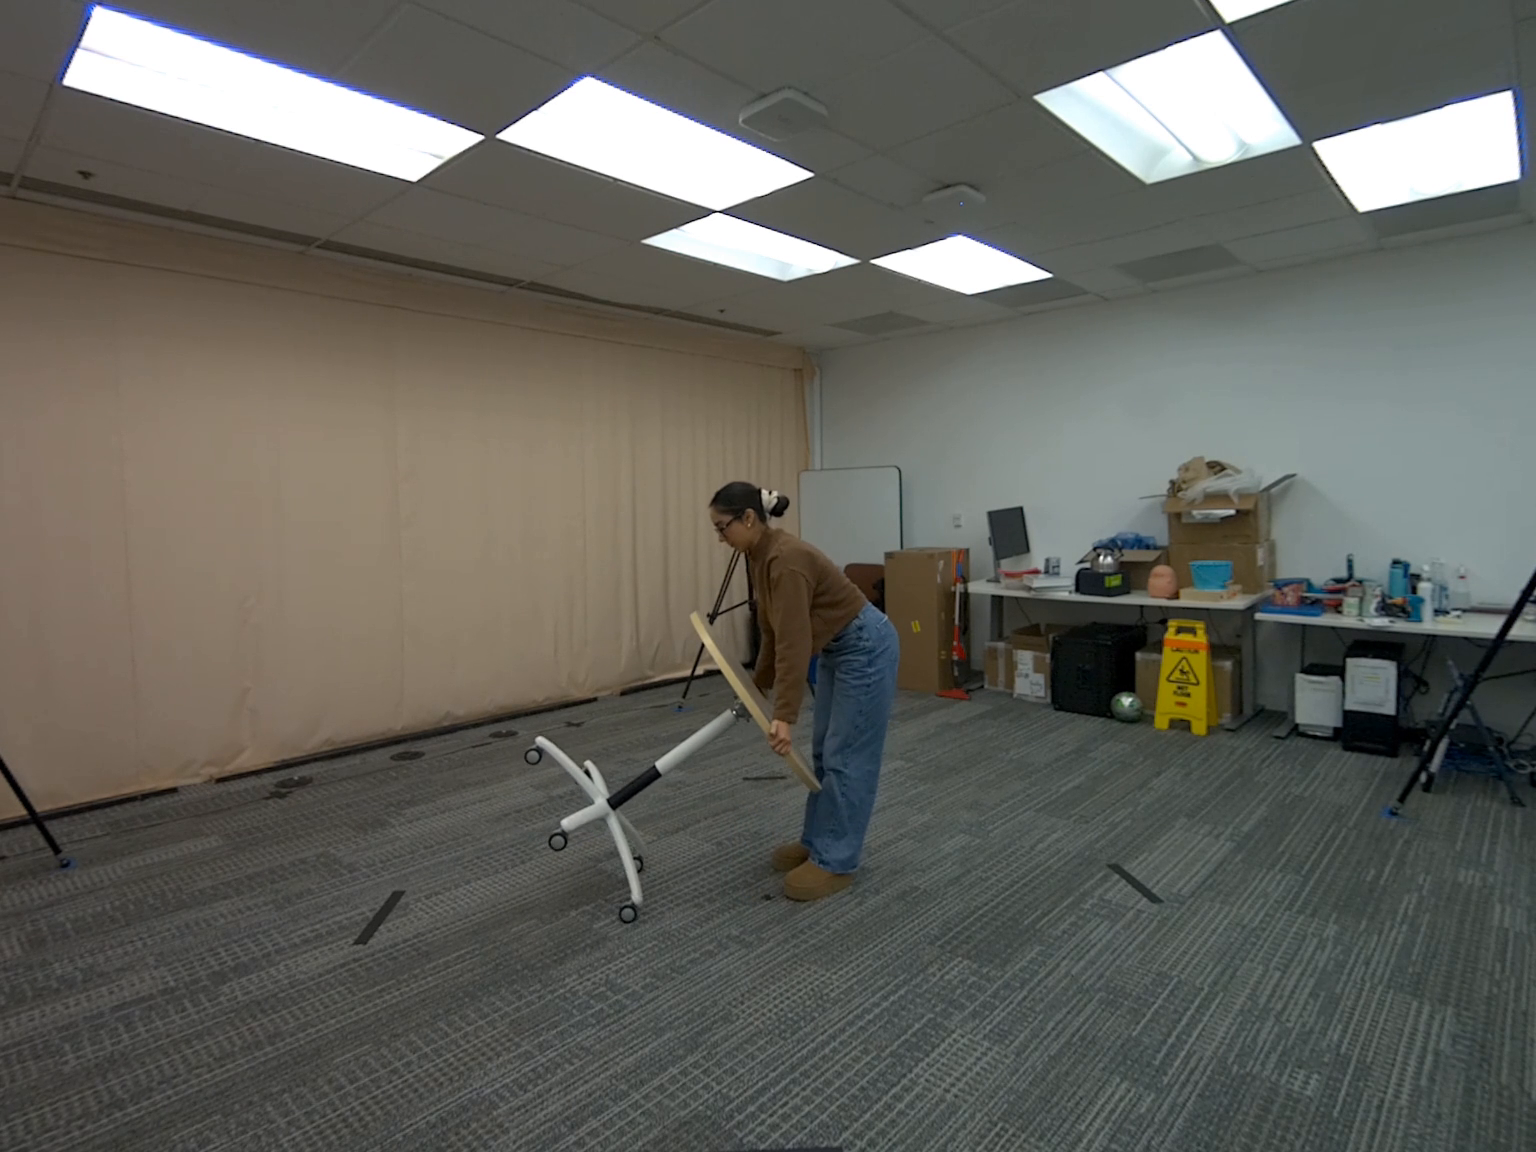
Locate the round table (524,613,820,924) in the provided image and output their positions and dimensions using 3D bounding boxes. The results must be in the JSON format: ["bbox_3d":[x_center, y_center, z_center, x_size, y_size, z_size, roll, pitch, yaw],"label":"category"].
[{"bbox_3d":[-0.361,0.673,3.028,0.793,0.760,0.769,-36,6,-1],"label":"round table"}]
